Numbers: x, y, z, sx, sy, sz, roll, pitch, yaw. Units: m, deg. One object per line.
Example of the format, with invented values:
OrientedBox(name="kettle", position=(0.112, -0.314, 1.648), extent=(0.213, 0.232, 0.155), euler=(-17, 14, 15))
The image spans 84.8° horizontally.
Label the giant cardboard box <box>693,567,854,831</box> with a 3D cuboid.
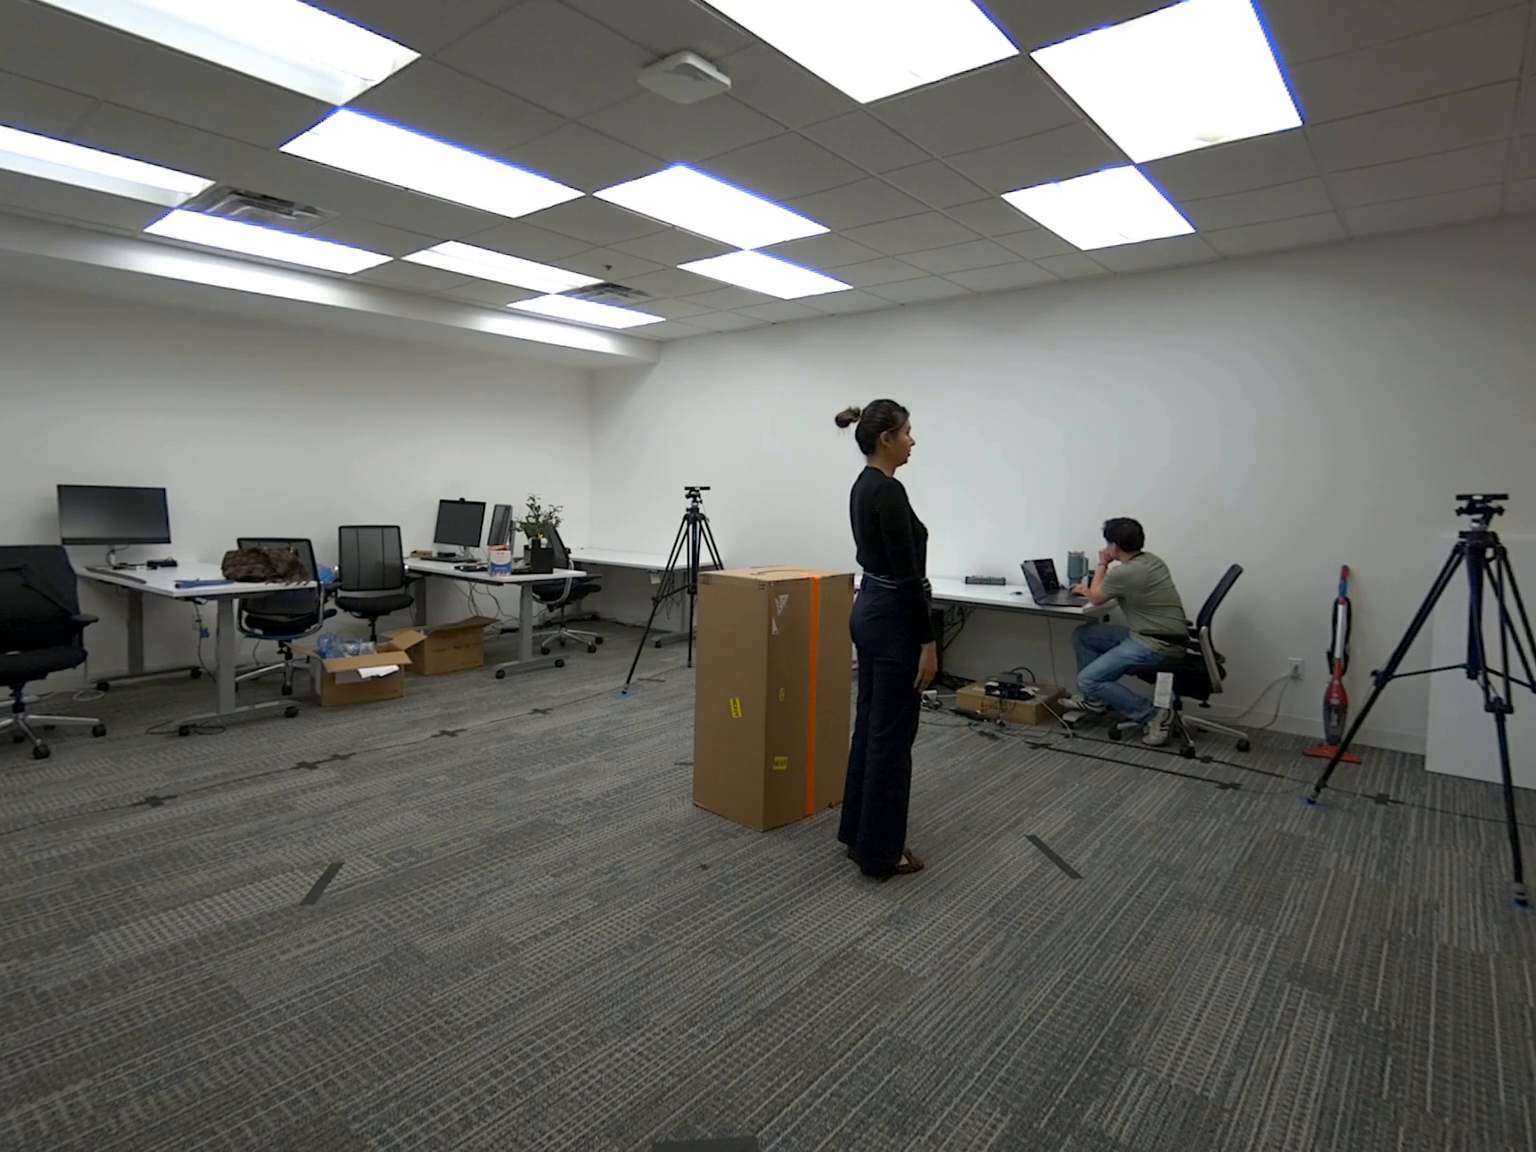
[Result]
OrientedBox(name="giant cardboard box", position=(0.020, 0.492, 3.754), extent=(0.441, 1.023, 0.560), euler=(4, 5, 44))
